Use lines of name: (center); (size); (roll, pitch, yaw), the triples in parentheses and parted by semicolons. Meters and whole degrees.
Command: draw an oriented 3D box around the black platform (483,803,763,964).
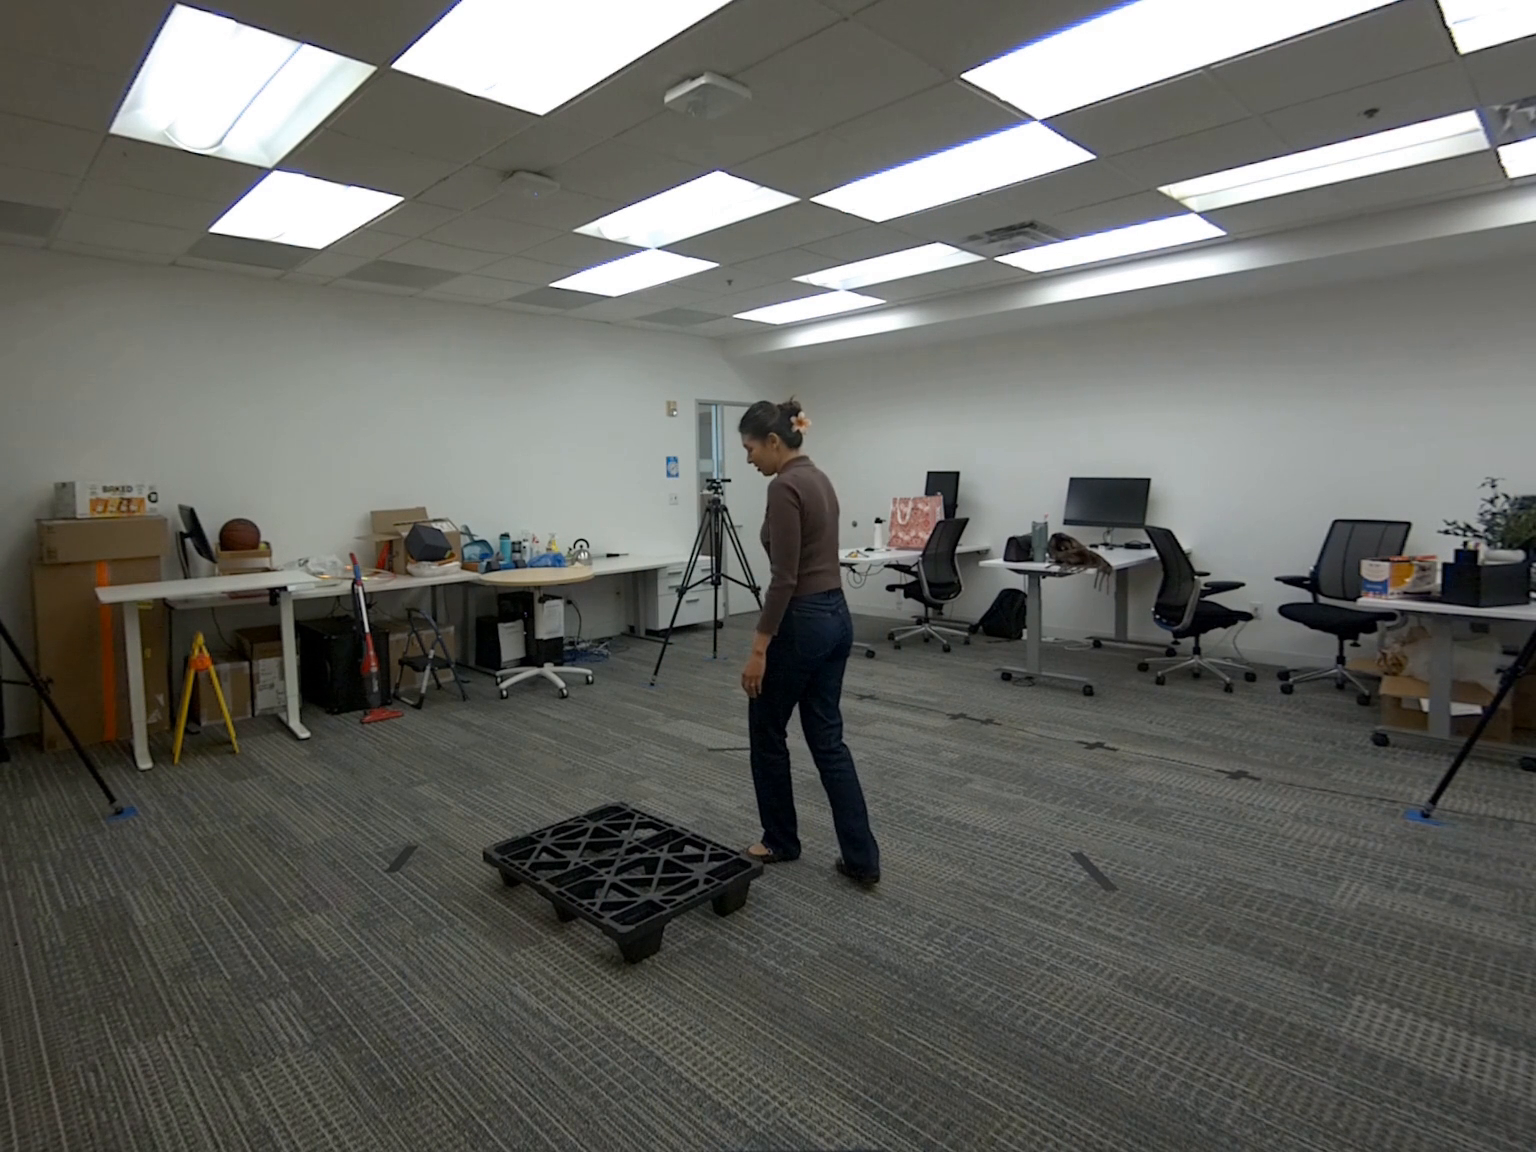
black platform: (-0.496, 1.012, 2.896); (0.831, 0.142, 0.589); (6, 9, 44)
